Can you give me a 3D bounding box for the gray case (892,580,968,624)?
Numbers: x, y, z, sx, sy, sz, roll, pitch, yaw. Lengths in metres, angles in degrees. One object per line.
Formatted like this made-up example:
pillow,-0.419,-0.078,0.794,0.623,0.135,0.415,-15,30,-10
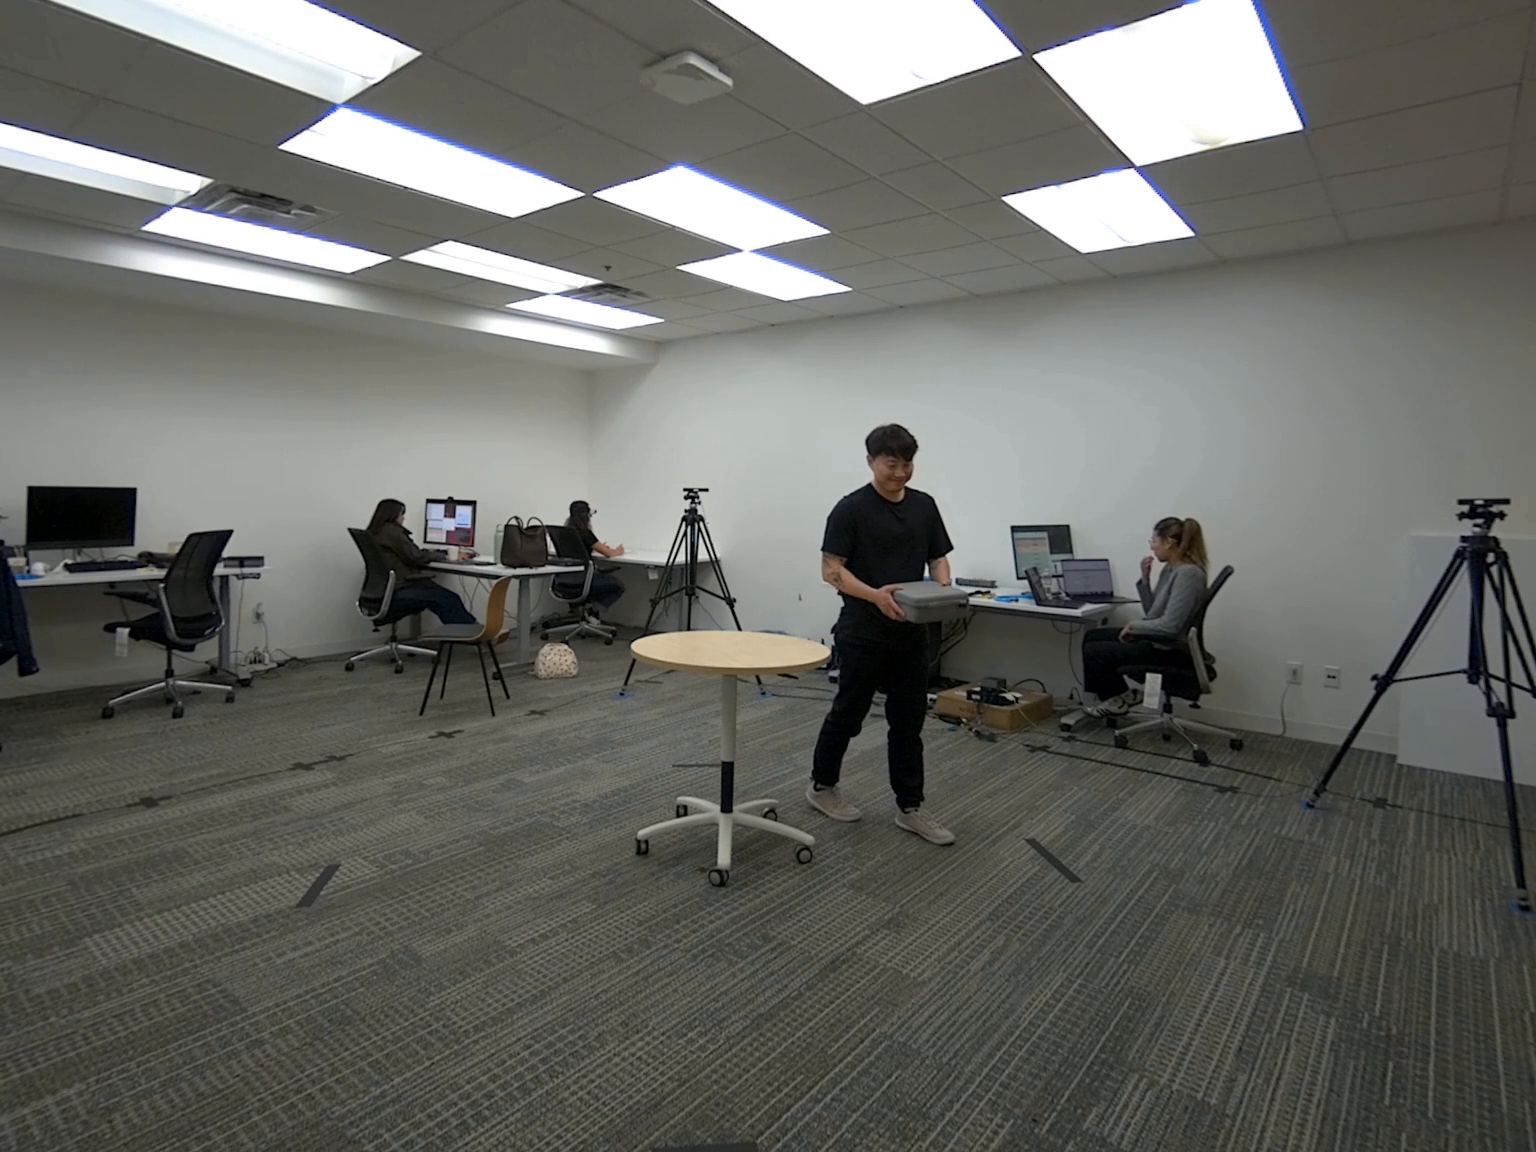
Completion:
gray case,0.601,0.094,3.253,0.252,0.103,0.268,-4,12,-21
